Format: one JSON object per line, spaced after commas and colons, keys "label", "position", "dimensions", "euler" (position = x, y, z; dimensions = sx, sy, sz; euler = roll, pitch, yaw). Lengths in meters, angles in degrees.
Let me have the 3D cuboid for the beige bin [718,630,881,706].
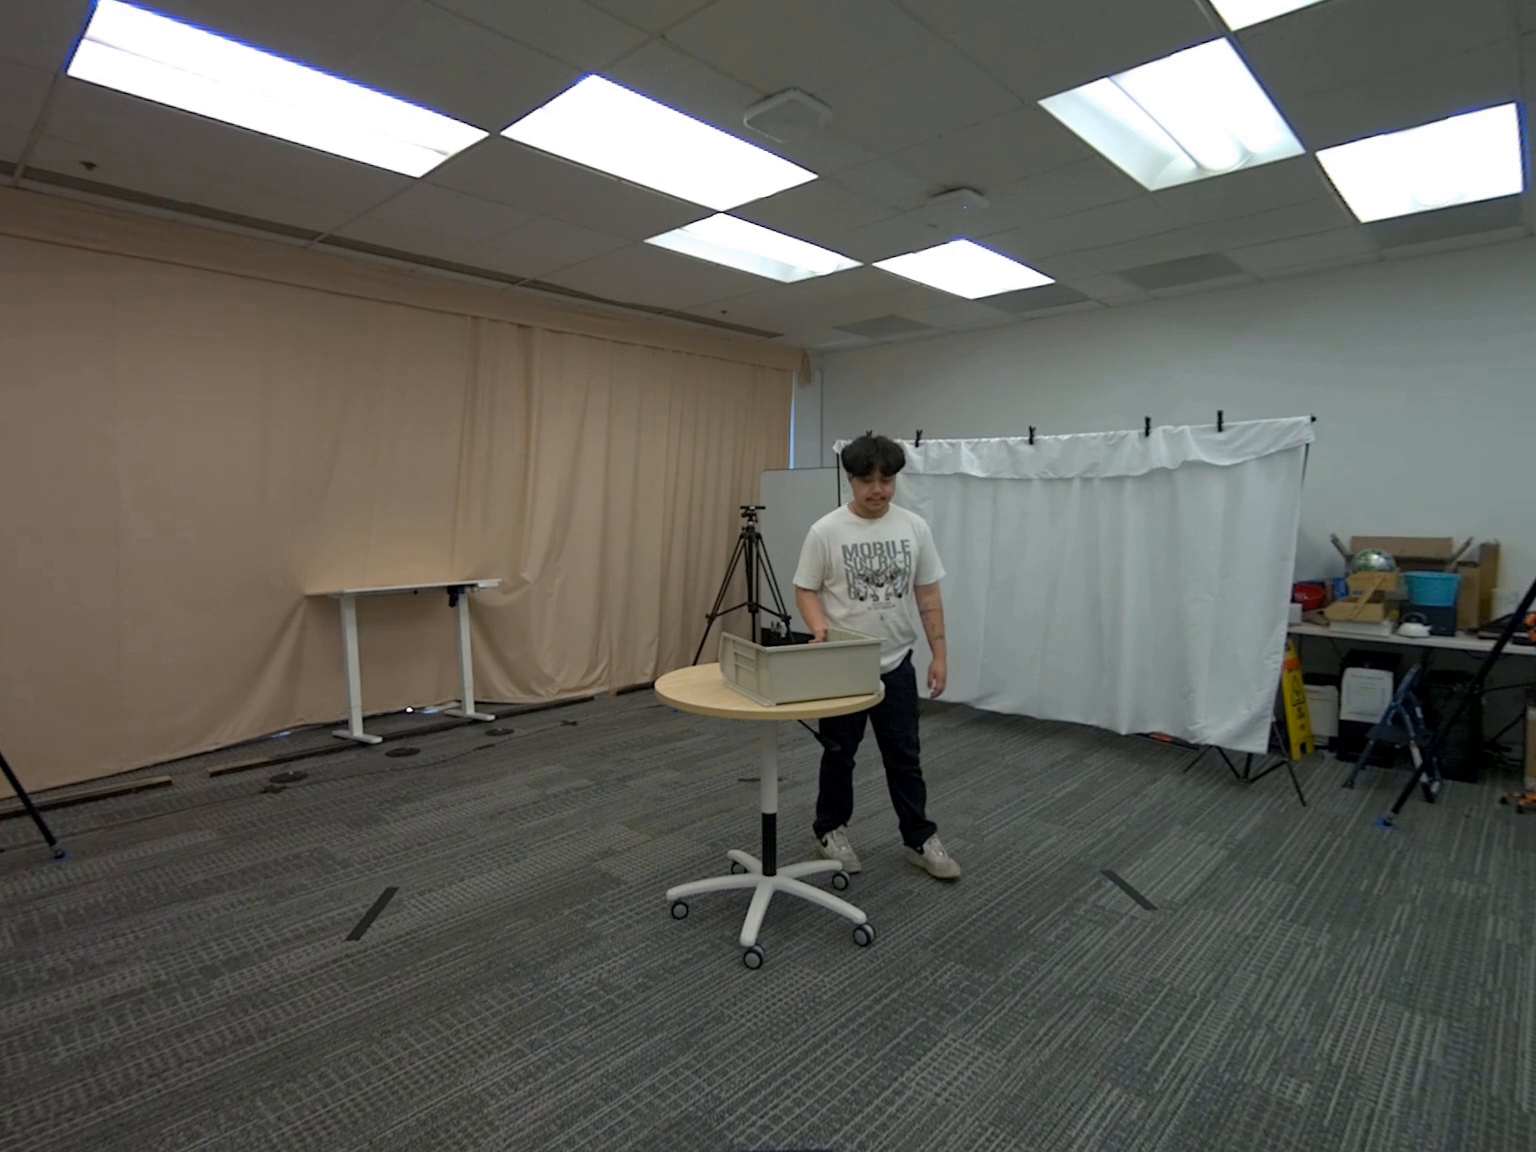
{"label": "beige bin", "position": [0.105, 0.282, 2.724], "dimensions": [0.413, 0.188, 0.387], "euler": [-2, 6, -24]}
